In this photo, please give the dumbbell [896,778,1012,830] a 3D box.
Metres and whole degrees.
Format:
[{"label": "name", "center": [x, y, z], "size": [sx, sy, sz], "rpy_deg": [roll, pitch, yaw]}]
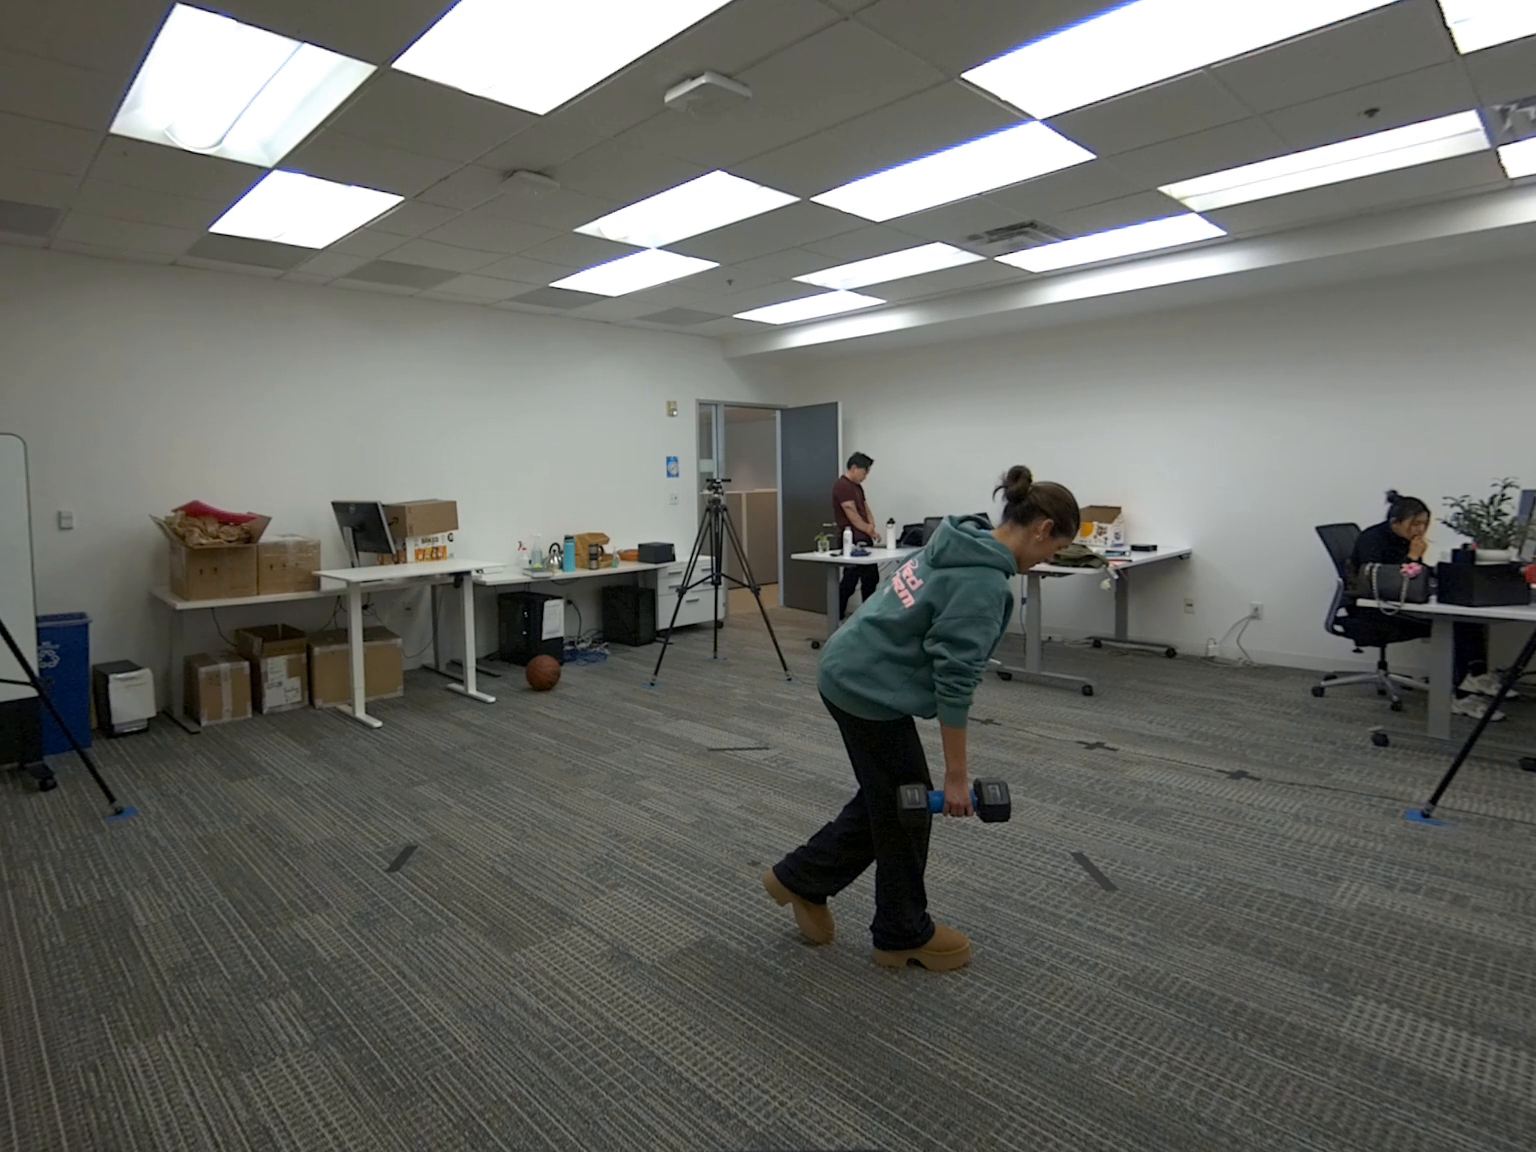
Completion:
[{"label": "dumbbell", "center": [0.500, 0.606, 2.287], "size": [0.295, 0.120, 0.111], "rpy_deg": [-5, 25, 4]}]
